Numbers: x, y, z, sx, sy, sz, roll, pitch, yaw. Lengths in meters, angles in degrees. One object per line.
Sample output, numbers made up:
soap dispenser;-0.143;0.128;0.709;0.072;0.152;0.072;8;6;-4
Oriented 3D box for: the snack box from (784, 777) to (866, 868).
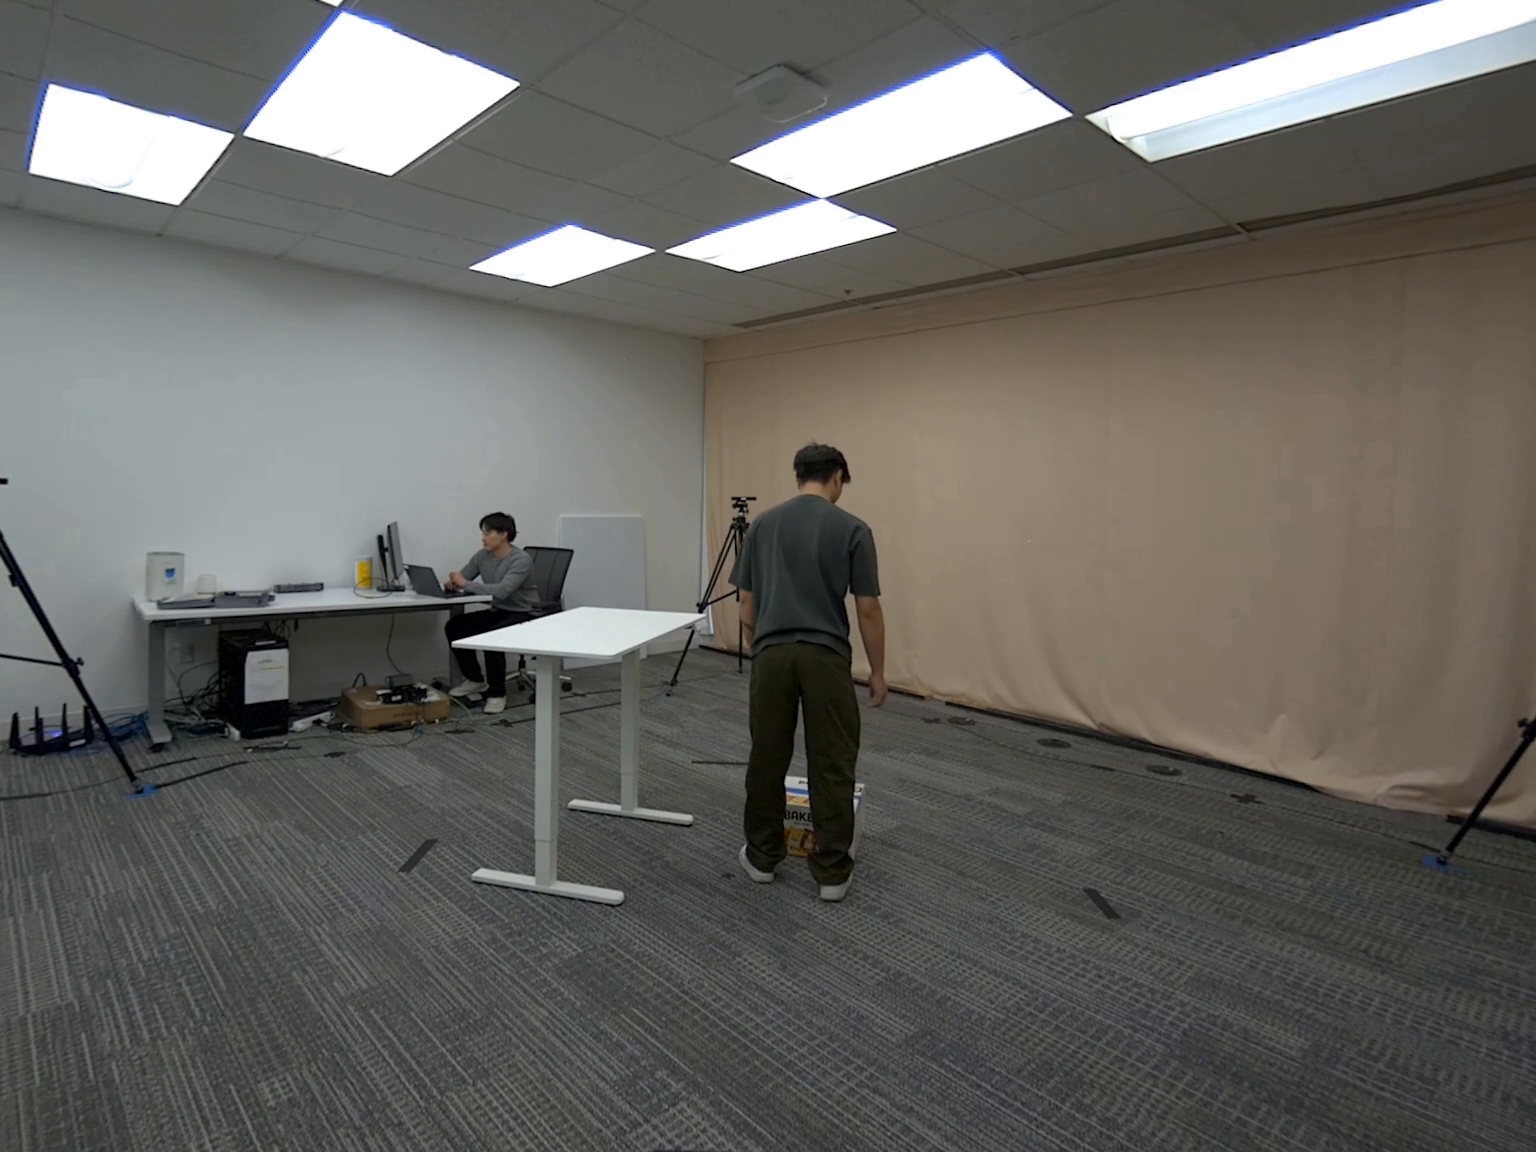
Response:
snack box;0.169;0.986;3.441;0.410;0.205;0.337;3;5;14
